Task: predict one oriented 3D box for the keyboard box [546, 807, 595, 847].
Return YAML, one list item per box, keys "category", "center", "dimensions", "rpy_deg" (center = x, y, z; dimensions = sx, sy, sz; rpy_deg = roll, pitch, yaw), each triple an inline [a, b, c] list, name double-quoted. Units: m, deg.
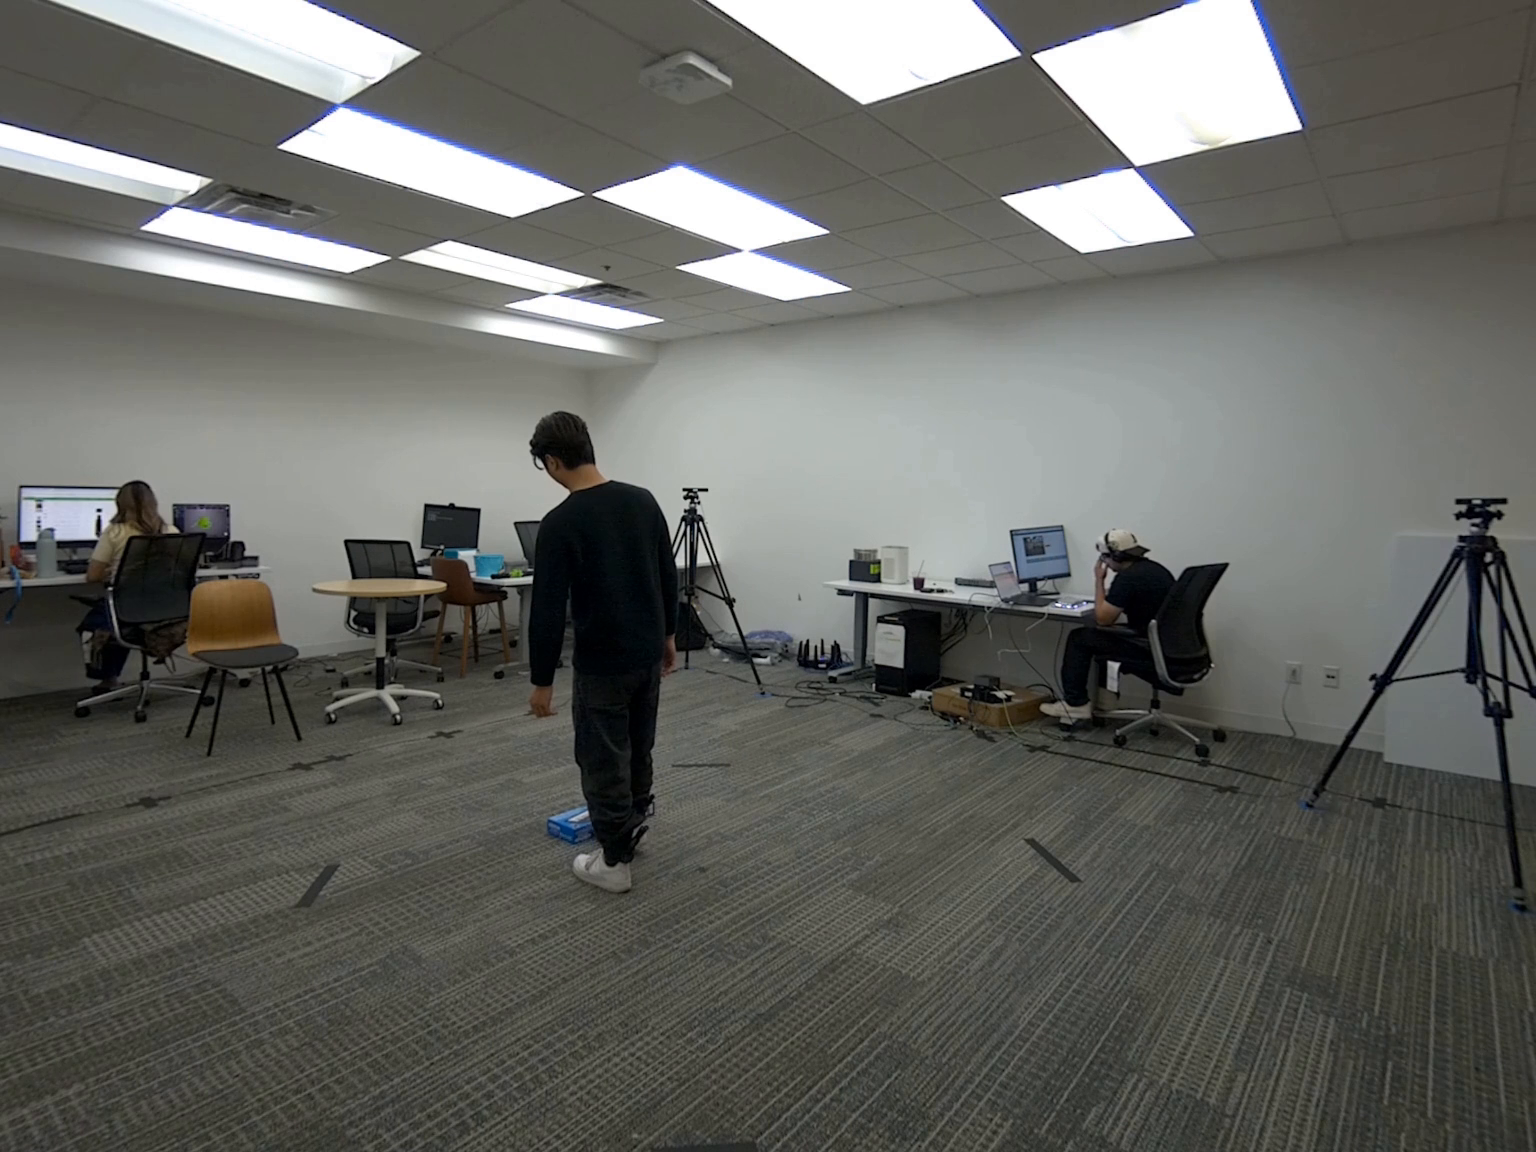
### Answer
- category: "keyboard box"
  center: [-0.697, 0.990, 3.513]
  dimensions: [0.182, 0.059, 0.424]
  rpy_deg: [5, 6, 39]
